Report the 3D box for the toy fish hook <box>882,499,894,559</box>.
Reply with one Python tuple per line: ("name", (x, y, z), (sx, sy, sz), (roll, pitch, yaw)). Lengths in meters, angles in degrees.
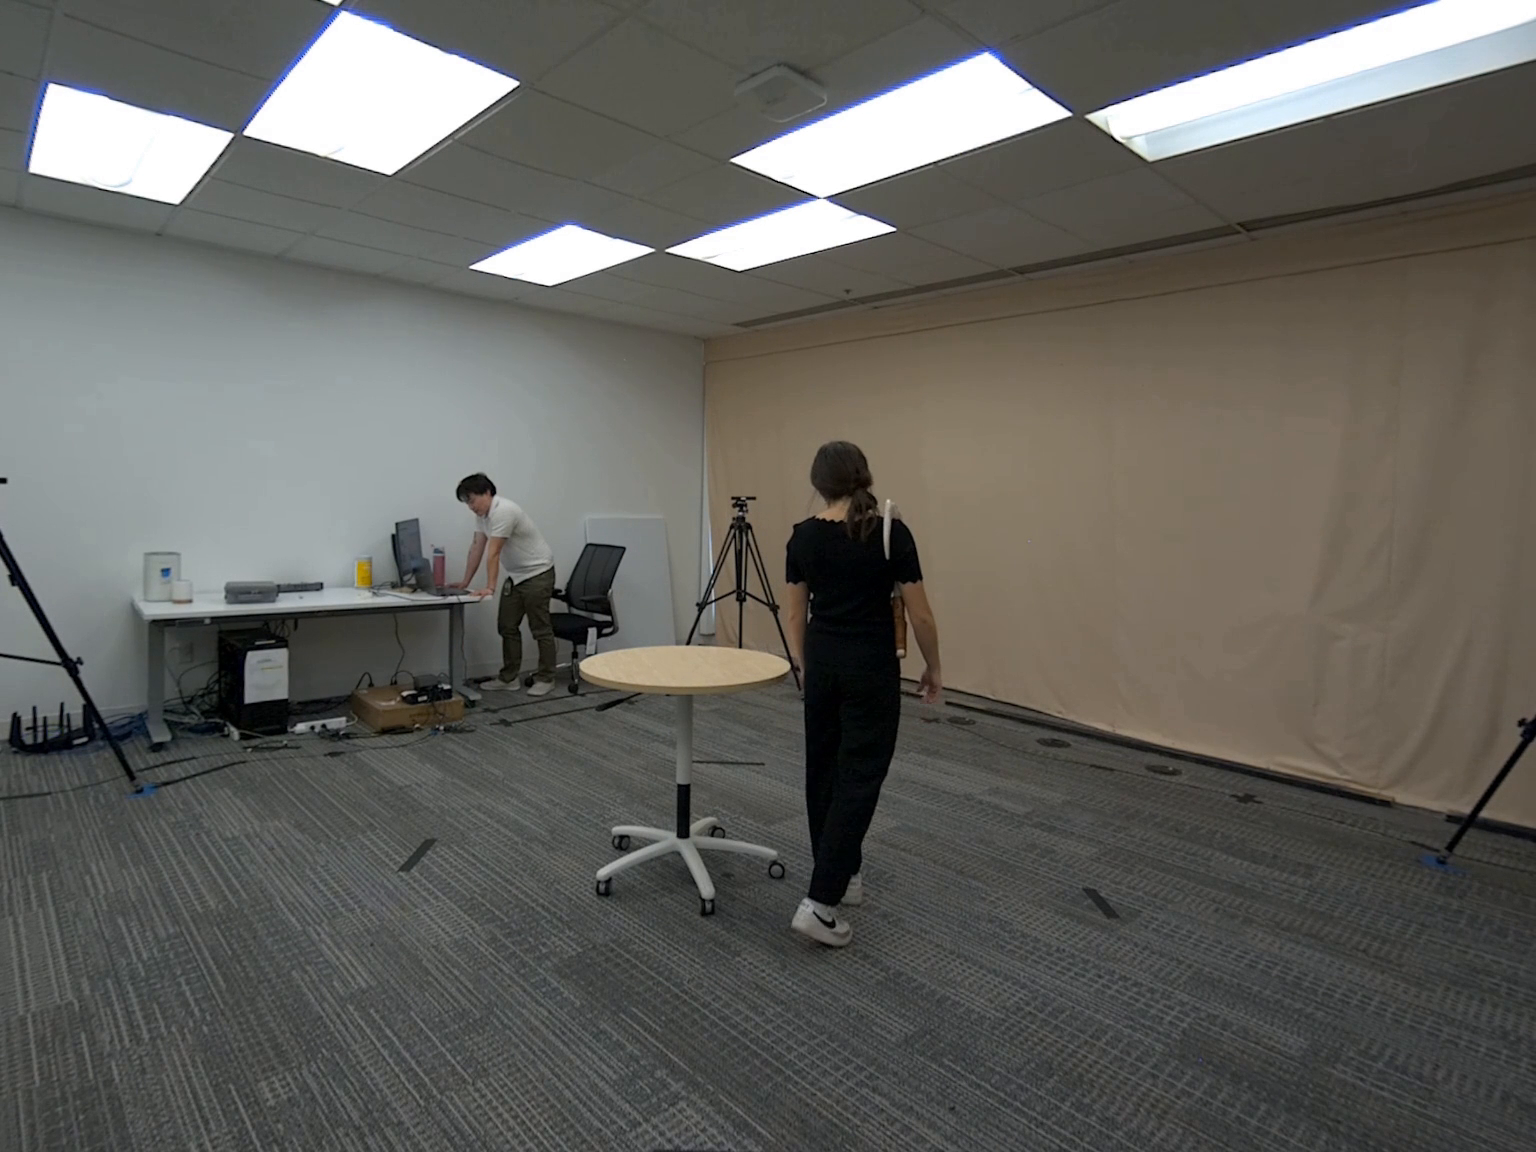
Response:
("toy fish hook", (0.396, 0.013, 2.700), (0.049, 0.508, 0.220), (-4, -5, 23))
